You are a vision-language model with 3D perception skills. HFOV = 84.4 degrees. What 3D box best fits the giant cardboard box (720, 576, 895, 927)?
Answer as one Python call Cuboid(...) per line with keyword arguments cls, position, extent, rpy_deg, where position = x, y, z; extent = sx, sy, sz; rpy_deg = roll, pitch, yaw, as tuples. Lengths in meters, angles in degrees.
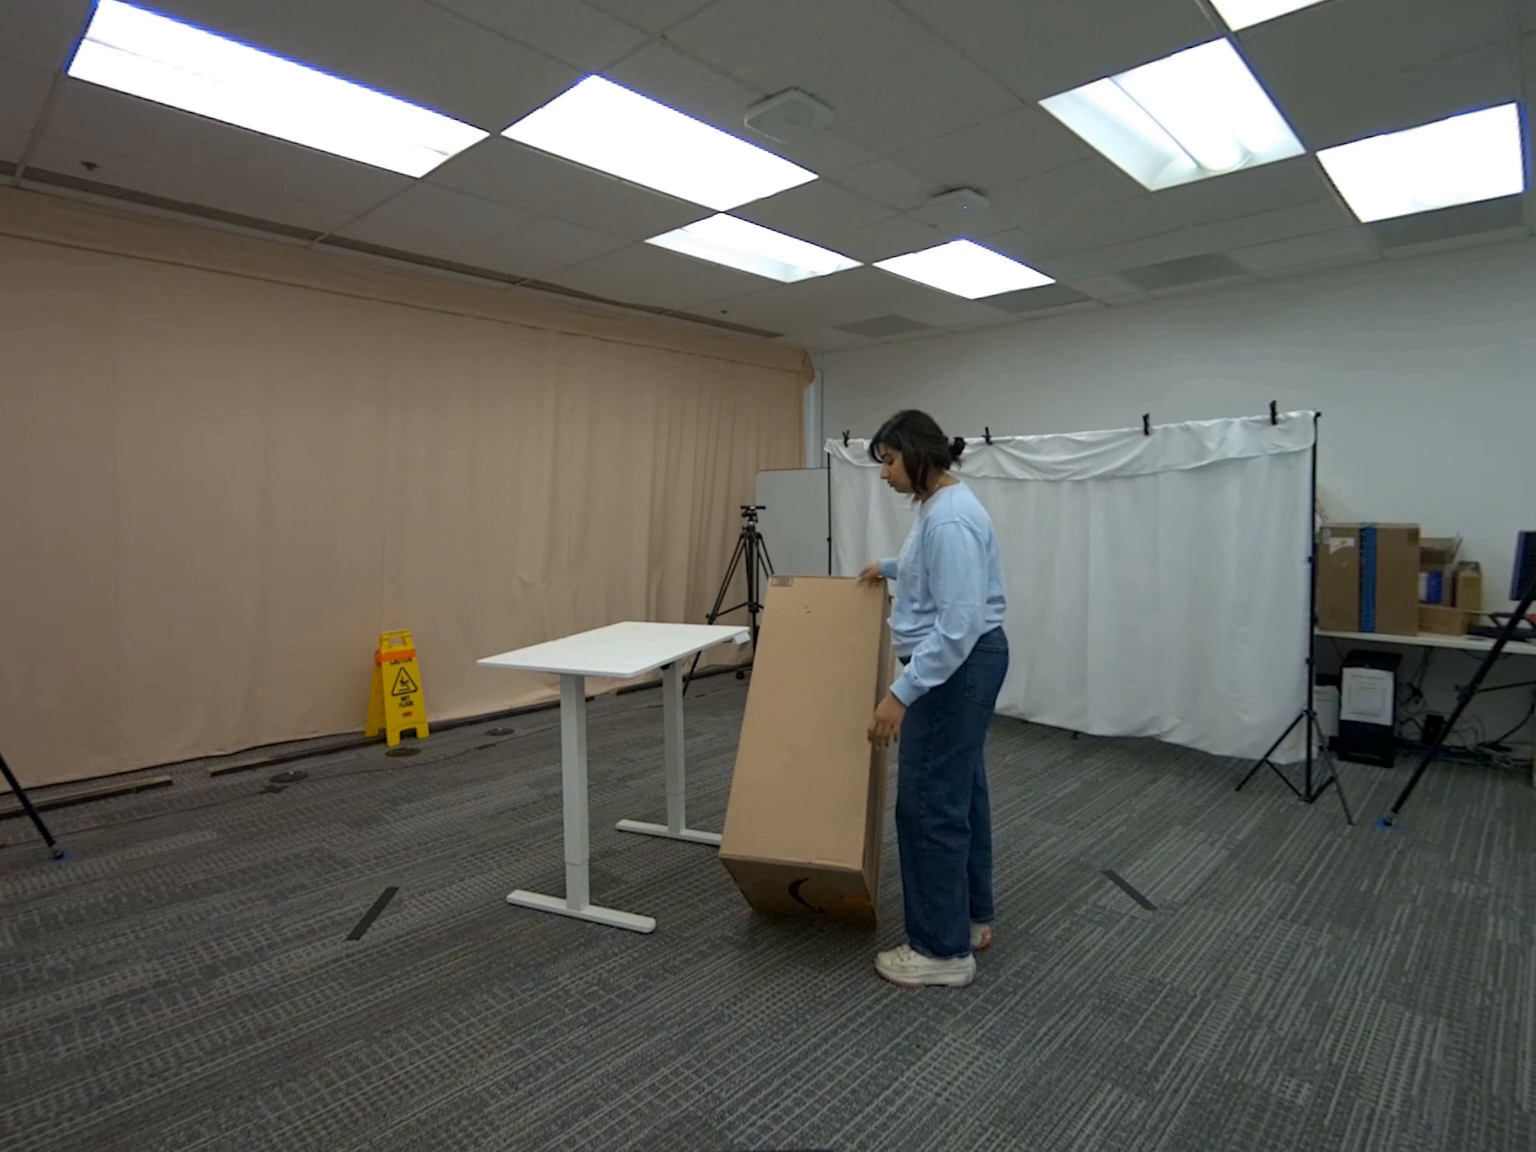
Cuboid(cls="giant cardboard box", position=(0.185, 0.579, 2.920), extent=(0.433, 1.037, 0.562), rpy_deg=(1, -36, 13))
